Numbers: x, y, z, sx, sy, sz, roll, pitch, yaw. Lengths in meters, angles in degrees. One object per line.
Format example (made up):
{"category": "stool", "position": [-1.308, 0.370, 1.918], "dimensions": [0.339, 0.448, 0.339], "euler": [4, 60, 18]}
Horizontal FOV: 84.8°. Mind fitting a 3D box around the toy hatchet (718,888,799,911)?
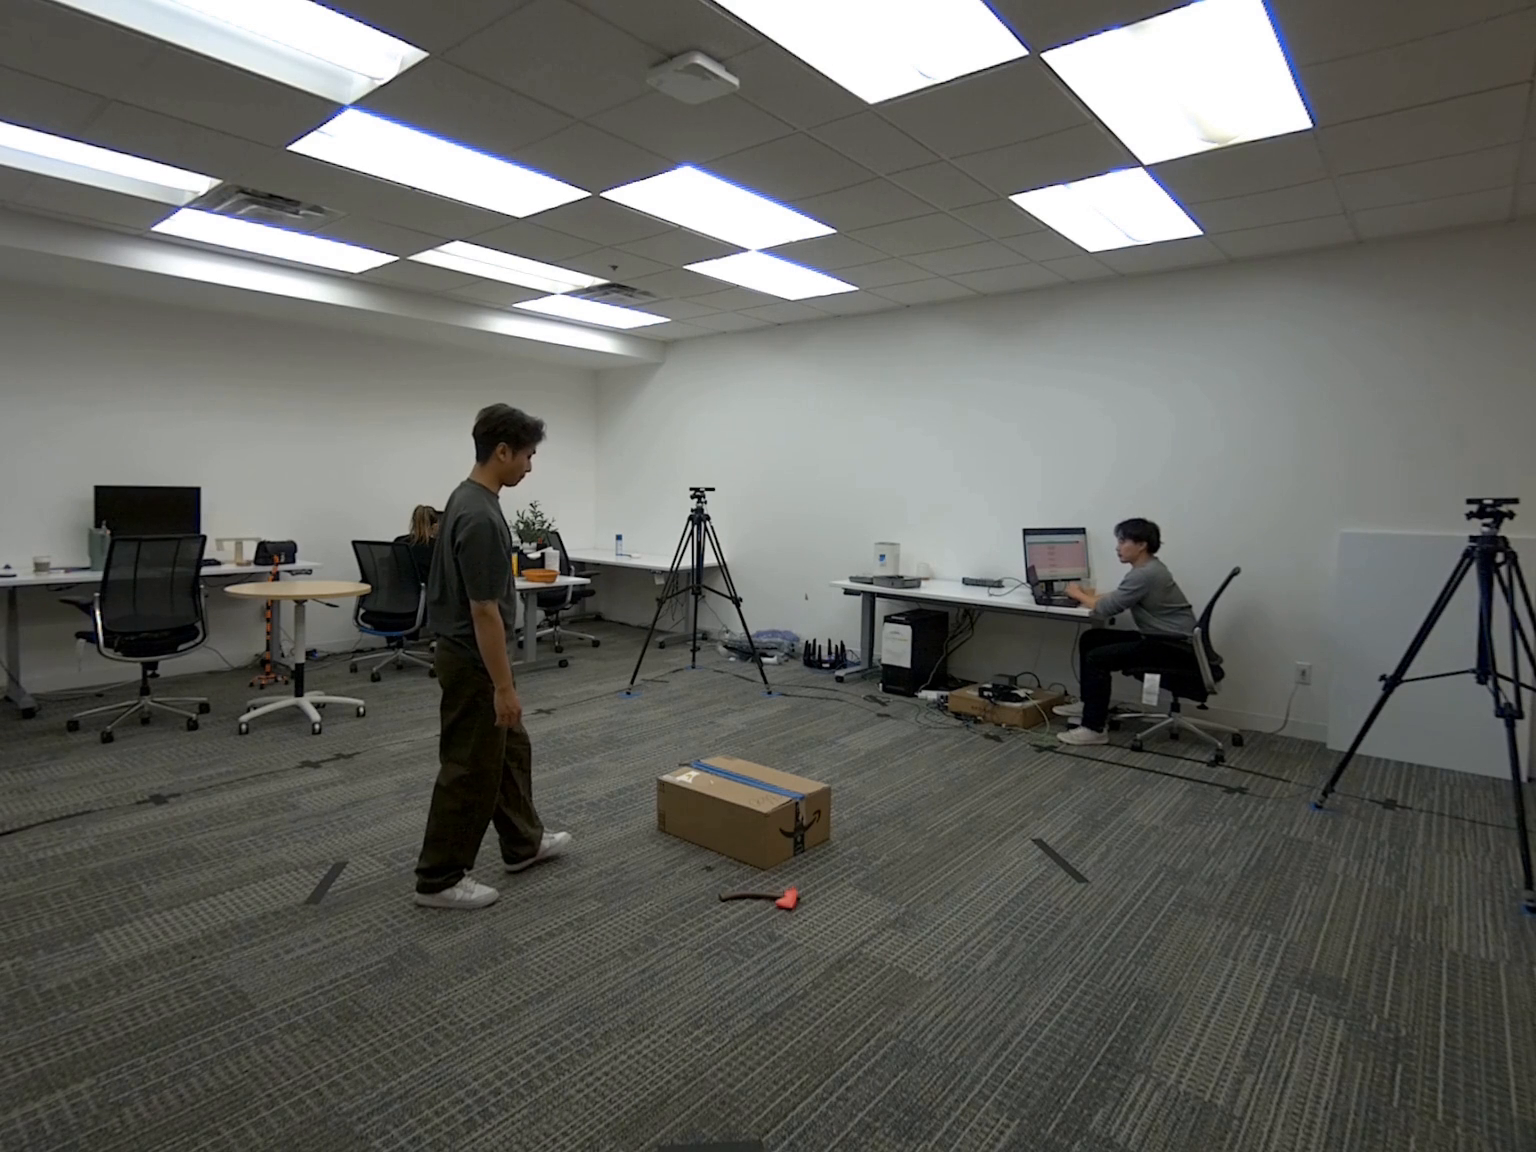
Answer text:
{"category": "toy hatchet", "position": [-0.036, 1.095, 2.846], "dimensions": [0.267, 0.029, 0.133], "euler": [-2, 10, -11]}
